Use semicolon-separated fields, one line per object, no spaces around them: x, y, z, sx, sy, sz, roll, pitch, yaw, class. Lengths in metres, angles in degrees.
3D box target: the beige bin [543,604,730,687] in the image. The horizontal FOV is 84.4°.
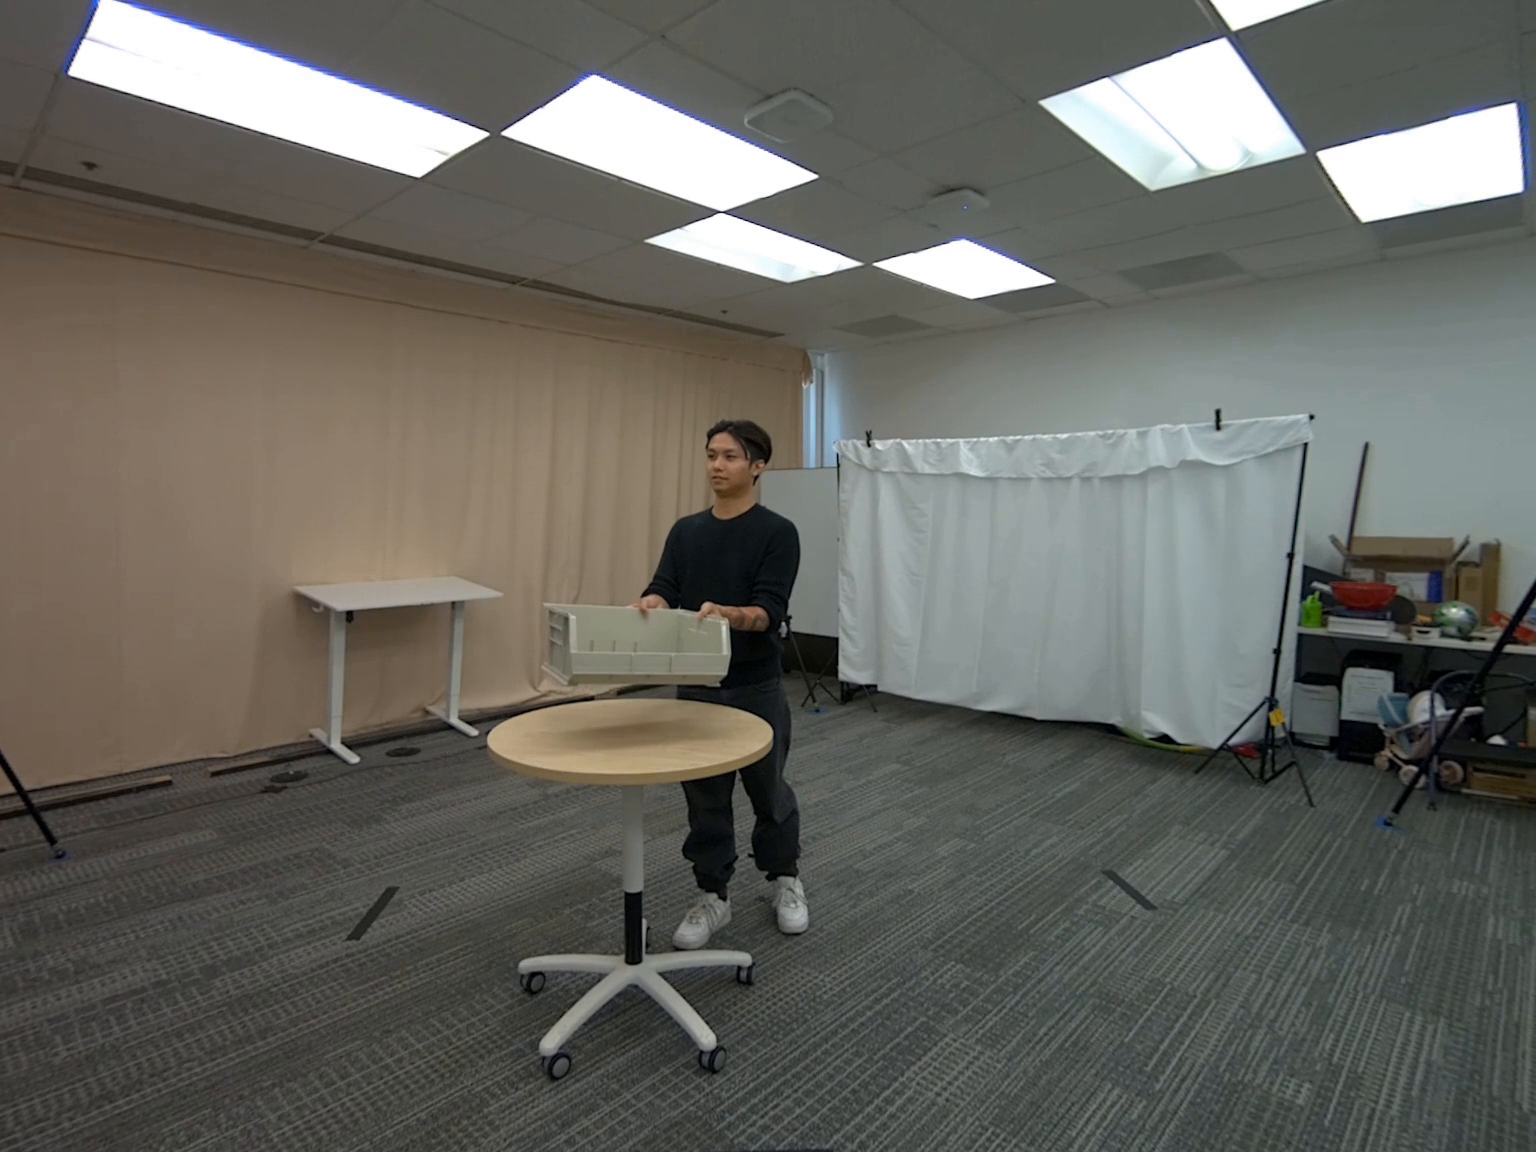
-0.376;0.189;2.226;0.414;0.189;0.385;4;-1;-20;beige bin
